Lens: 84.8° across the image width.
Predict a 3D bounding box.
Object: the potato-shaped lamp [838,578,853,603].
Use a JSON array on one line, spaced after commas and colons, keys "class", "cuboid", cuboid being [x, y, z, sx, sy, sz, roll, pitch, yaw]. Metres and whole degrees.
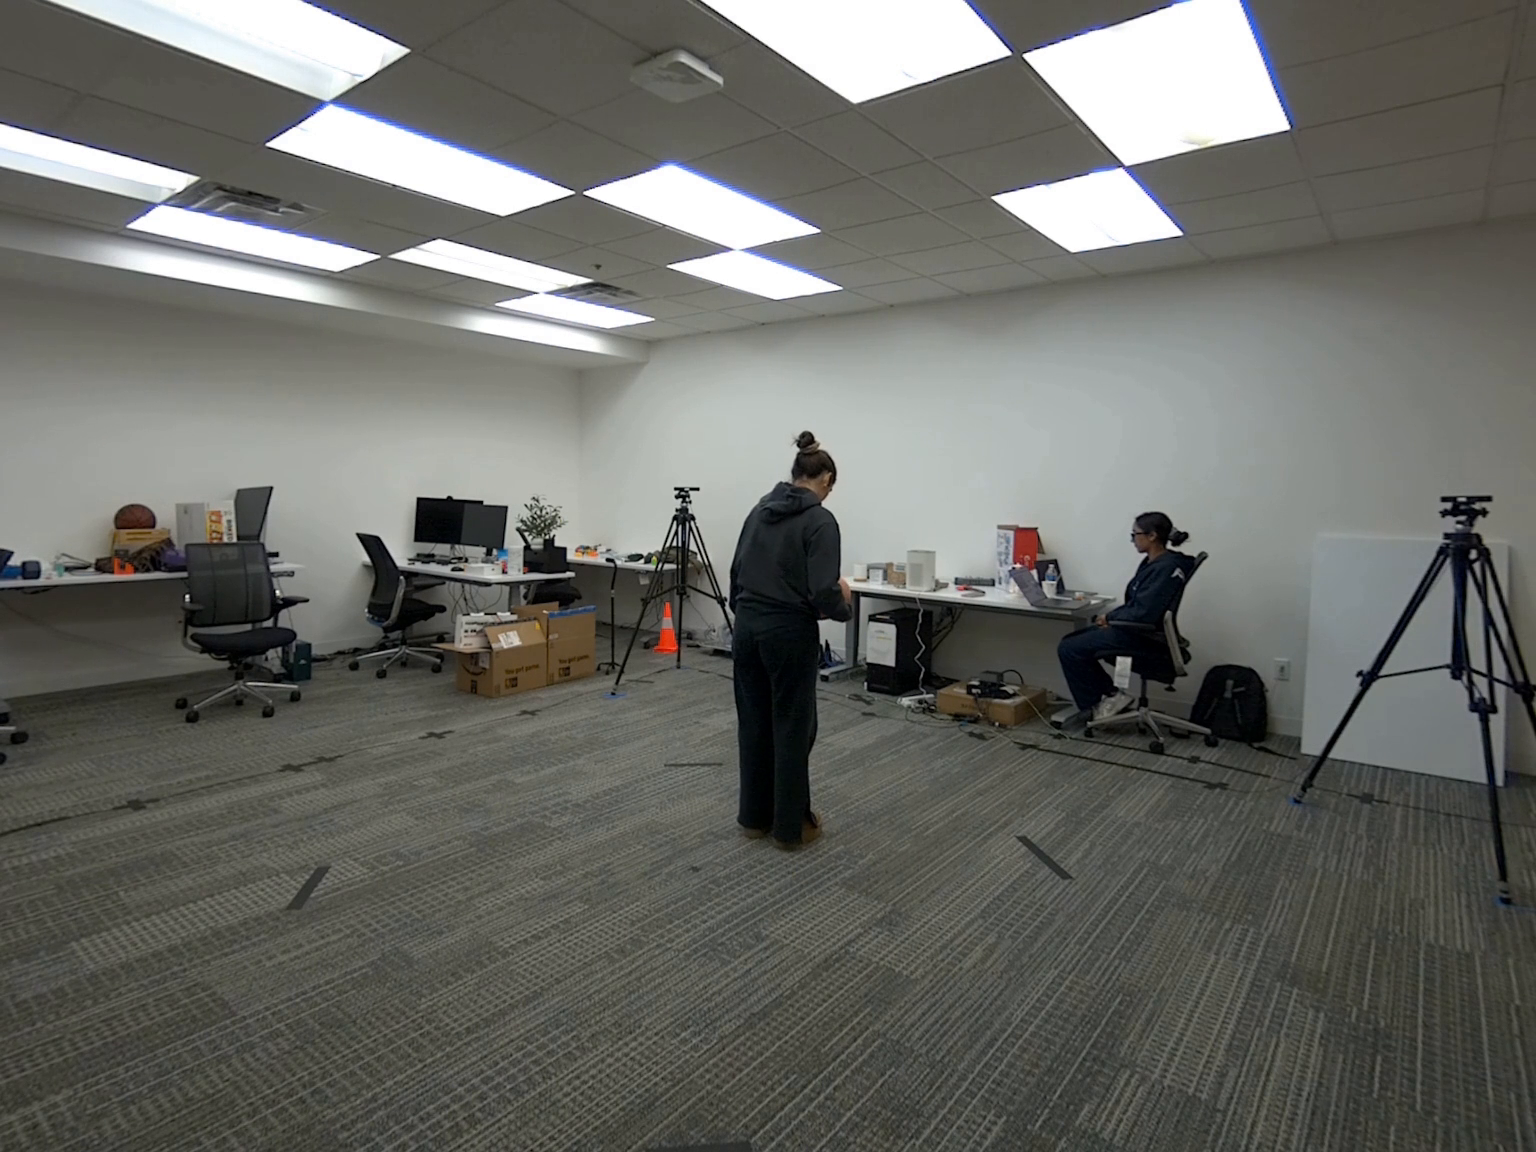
[{"class": "potato-shaped lamp", "cuboid": [0.237, 0.073, 3.420, 0.194, 0.167, 0.172, -12, 35, -24]}]
